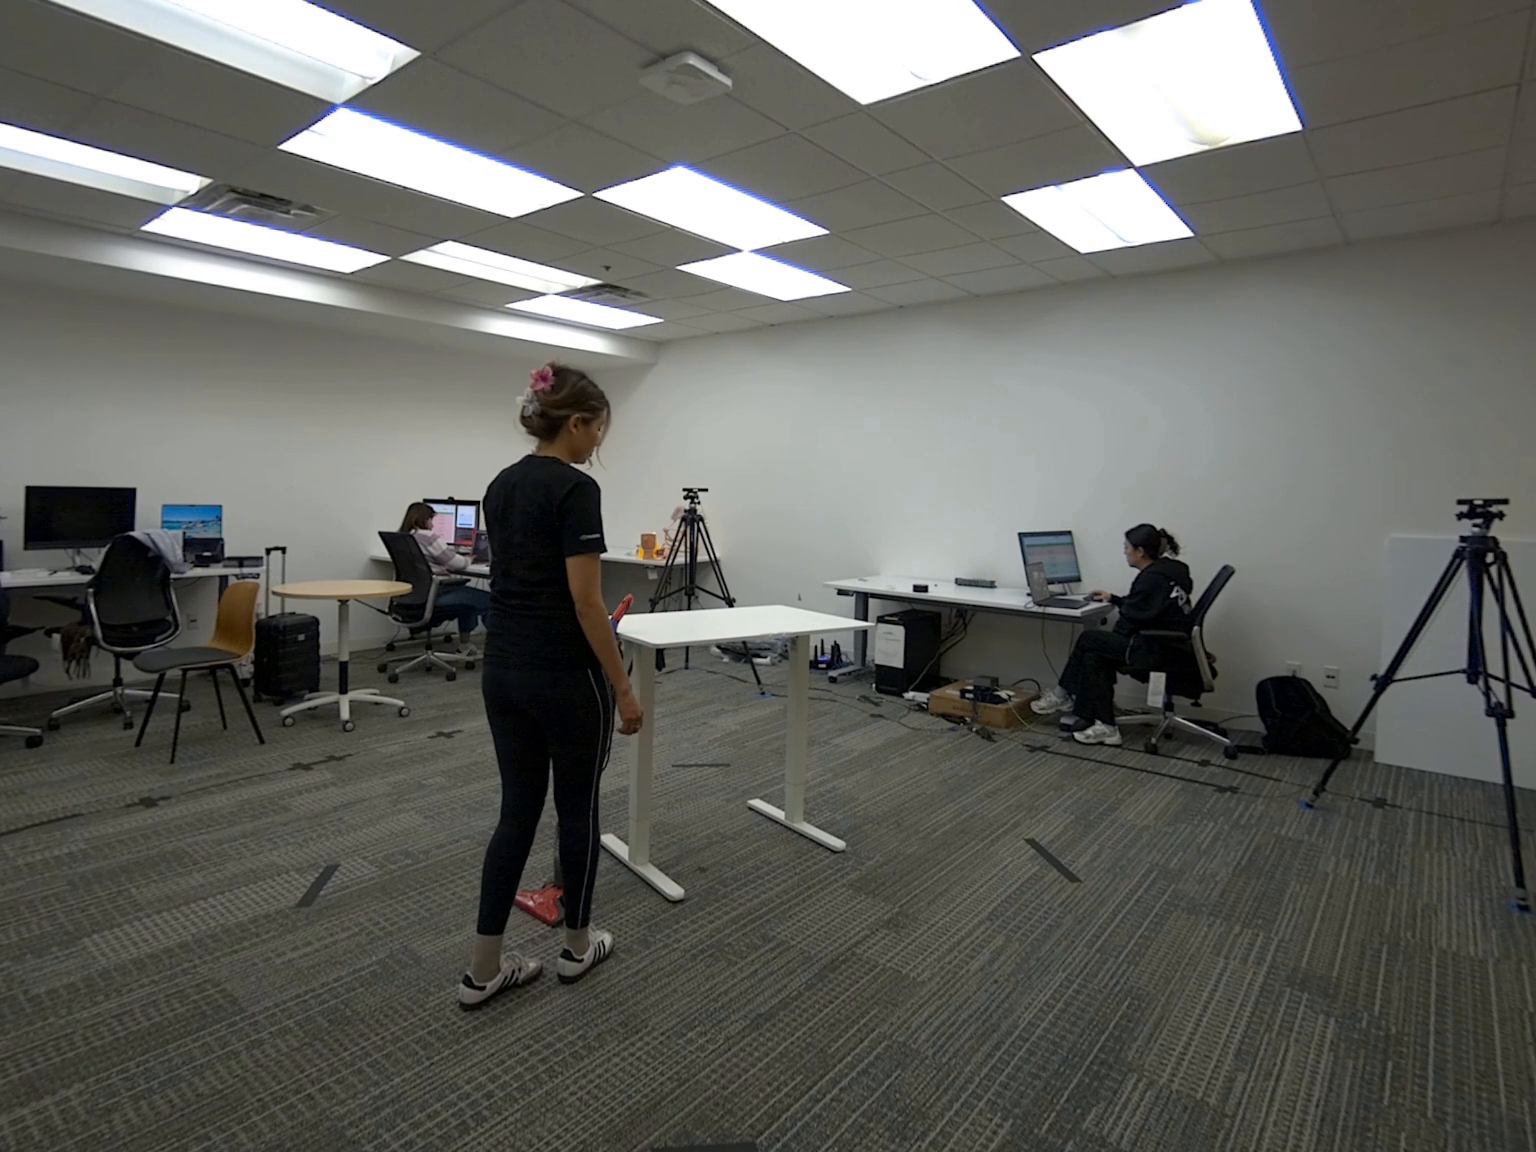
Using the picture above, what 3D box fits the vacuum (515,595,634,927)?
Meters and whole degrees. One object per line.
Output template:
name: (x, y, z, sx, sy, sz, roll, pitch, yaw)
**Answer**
vacuum: (-0.618, 0.592, 2.889, 0.261, 1.056, 0.138, 6, -12, 37)
